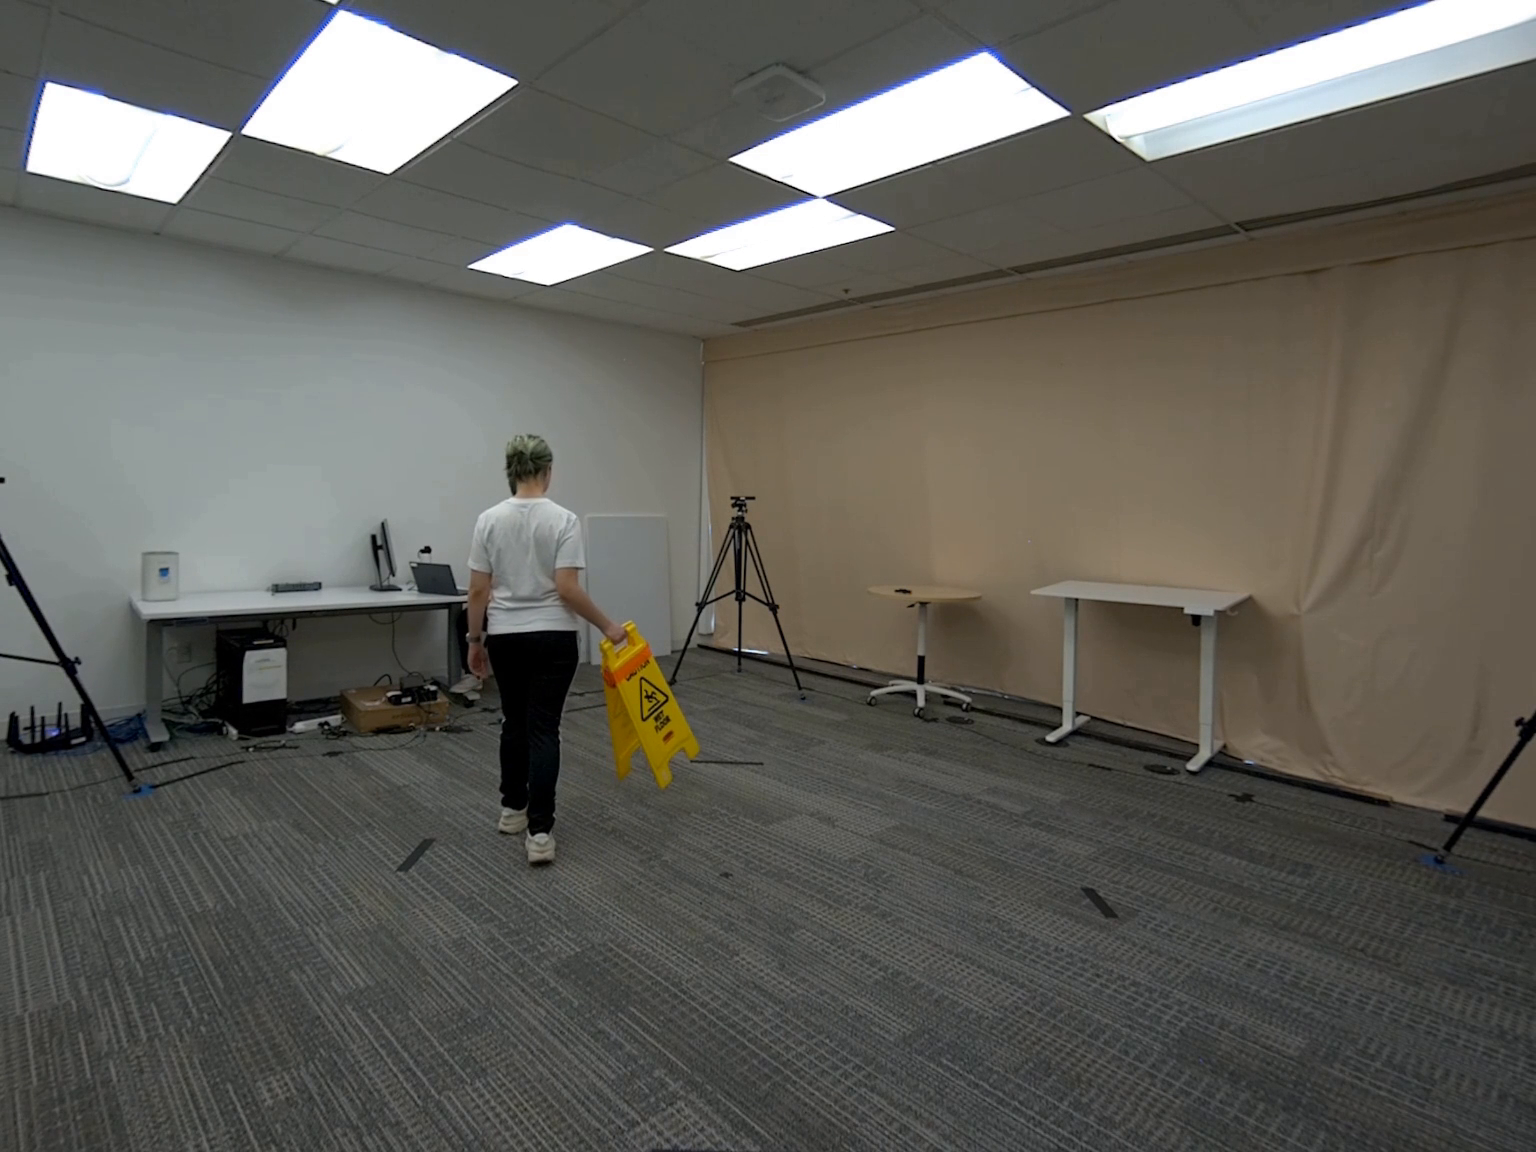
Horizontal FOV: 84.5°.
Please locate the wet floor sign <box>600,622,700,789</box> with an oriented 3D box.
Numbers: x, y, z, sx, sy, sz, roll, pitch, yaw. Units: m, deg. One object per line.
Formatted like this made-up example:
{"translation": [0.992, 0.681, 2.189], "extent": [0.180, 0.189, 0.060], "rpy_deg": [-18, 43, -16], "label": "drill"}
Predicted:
{"translation": [-0.553, 0.517, 3.503], "extent": [0.296, 0.636, 0.280], "rpy_deg": [-1, 22, 34], "label": "wet floor sign"}
